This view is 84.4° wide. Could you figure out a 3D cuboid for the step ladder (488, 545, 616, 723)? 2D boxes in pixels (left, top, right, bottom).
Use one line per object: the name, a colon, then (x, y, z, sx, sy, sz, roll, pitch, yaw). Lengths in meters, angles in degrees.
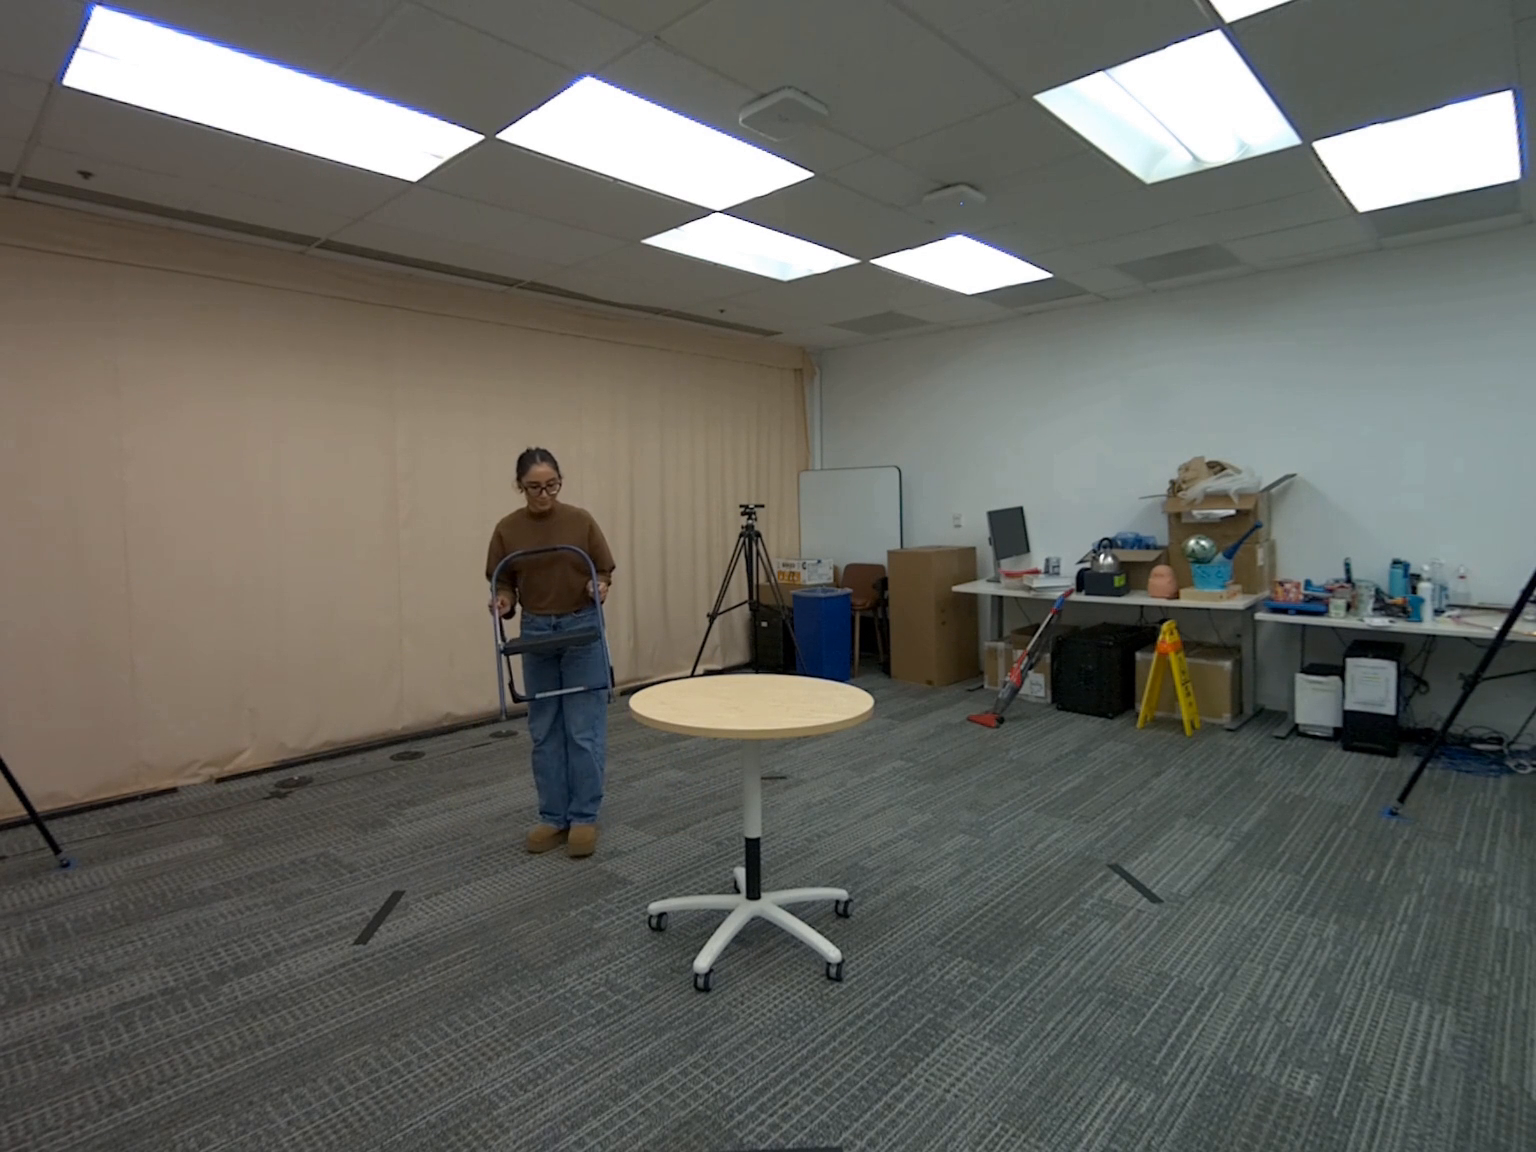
step ladder: (-0.847, 0.191, 3.241, 0.427, 0.607, 0.352, -8, -1, -10)
